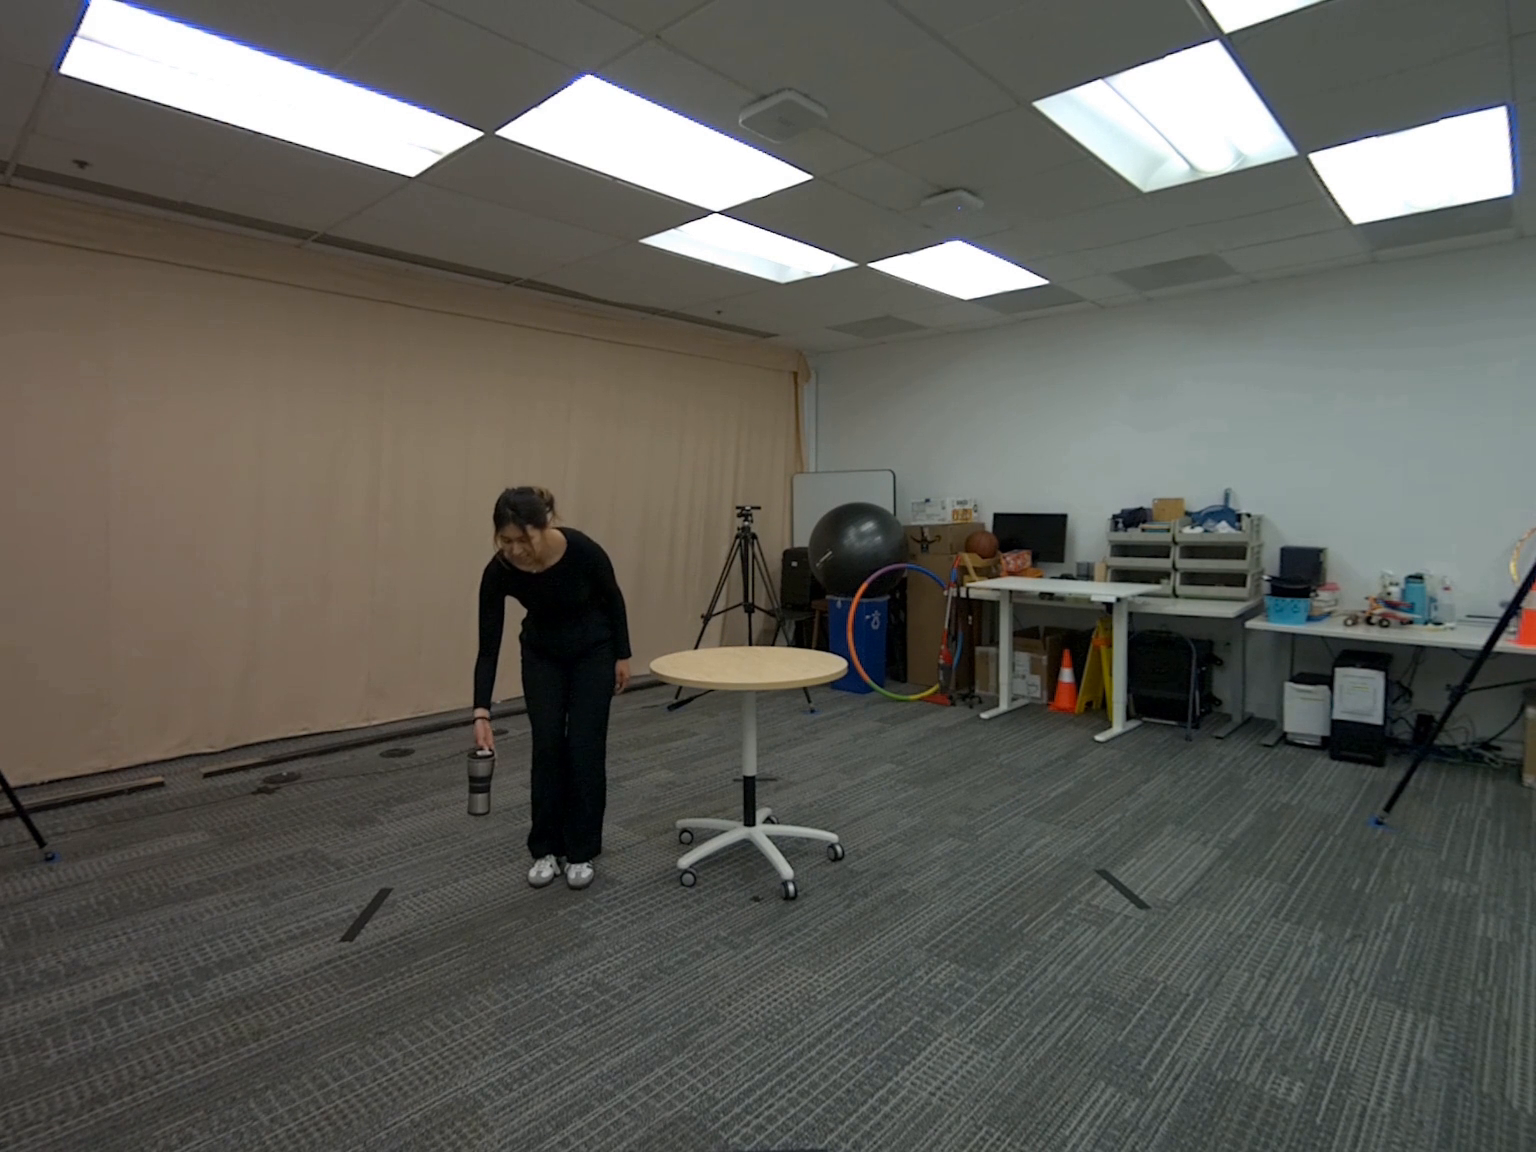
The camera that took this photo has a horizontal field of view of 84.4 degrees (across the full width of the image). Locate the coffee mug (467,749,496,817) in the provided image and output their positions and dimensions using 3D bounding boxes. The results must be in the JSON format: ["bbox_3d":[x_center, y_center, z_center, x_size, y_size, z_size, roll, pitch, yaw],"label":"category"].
[{"bbox_3d":[-0.935,0.678,2.769,0.118,0.203,0.090,-6,3,-44],"label":"coffee mug"}]
